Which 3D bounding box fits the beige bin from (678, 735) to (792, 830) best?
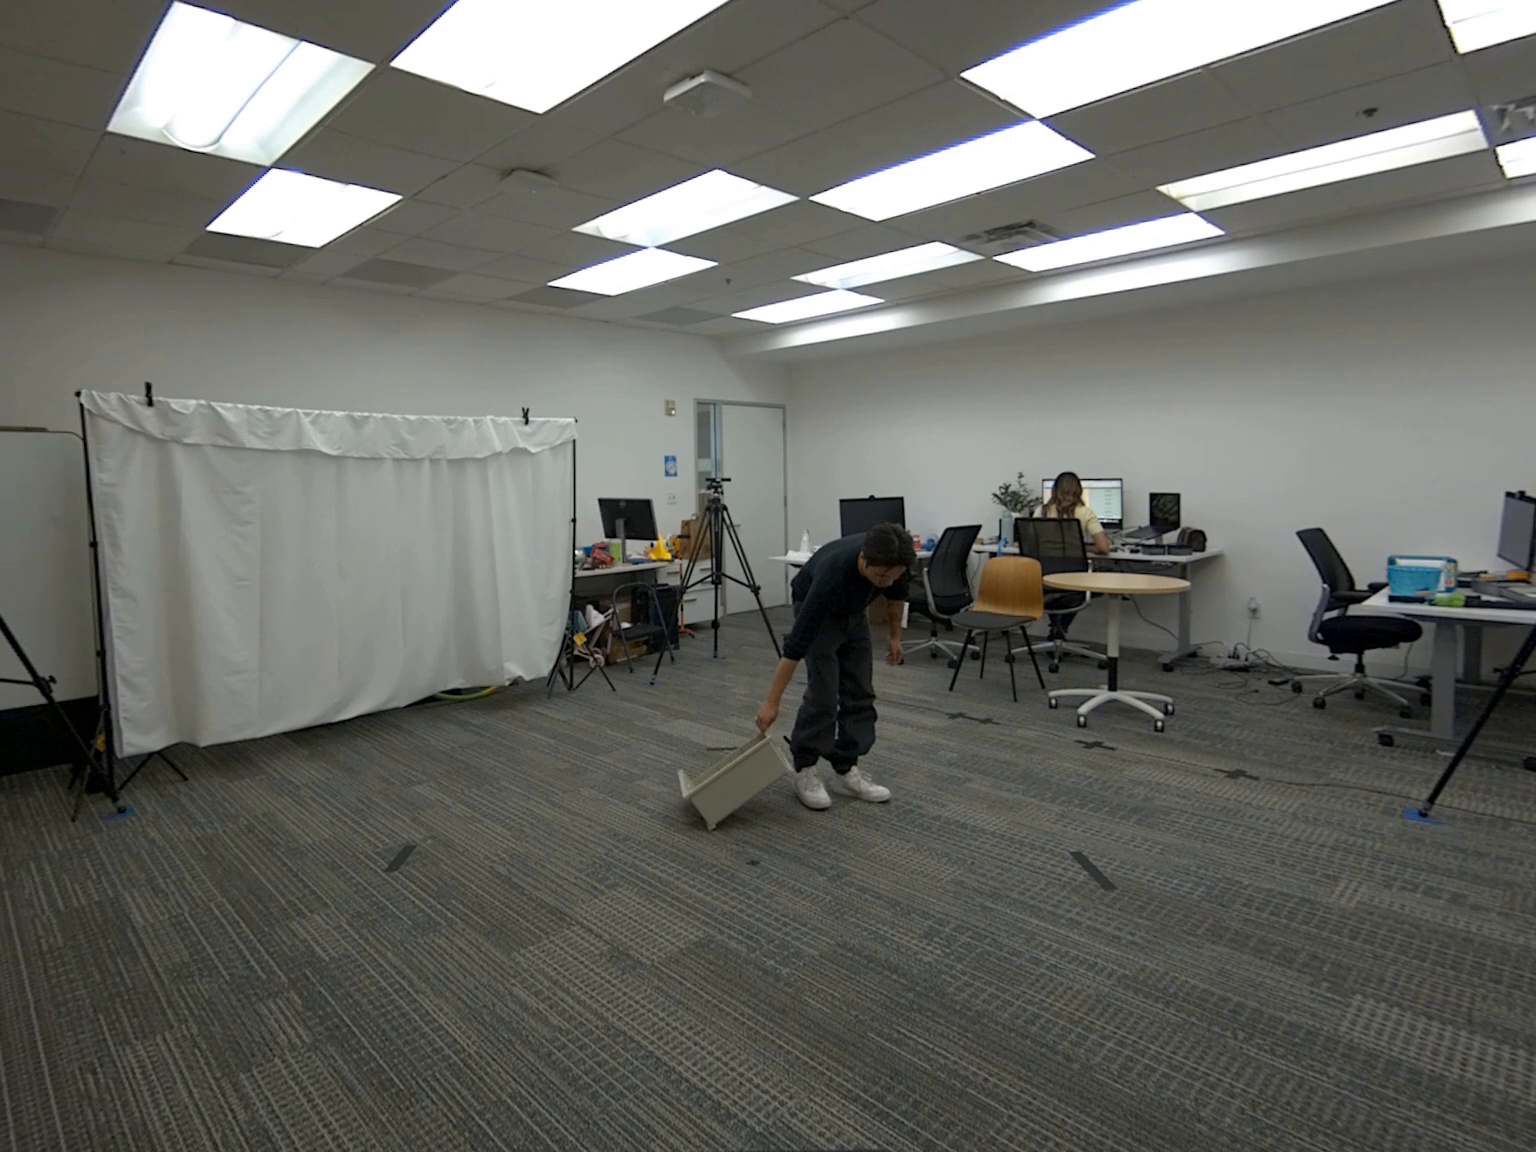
[{"bbox_3d":[-0.142,0.806,3.559,0.422,0.187,0.382,-34,11,-4],"label":"beige bin"}]
